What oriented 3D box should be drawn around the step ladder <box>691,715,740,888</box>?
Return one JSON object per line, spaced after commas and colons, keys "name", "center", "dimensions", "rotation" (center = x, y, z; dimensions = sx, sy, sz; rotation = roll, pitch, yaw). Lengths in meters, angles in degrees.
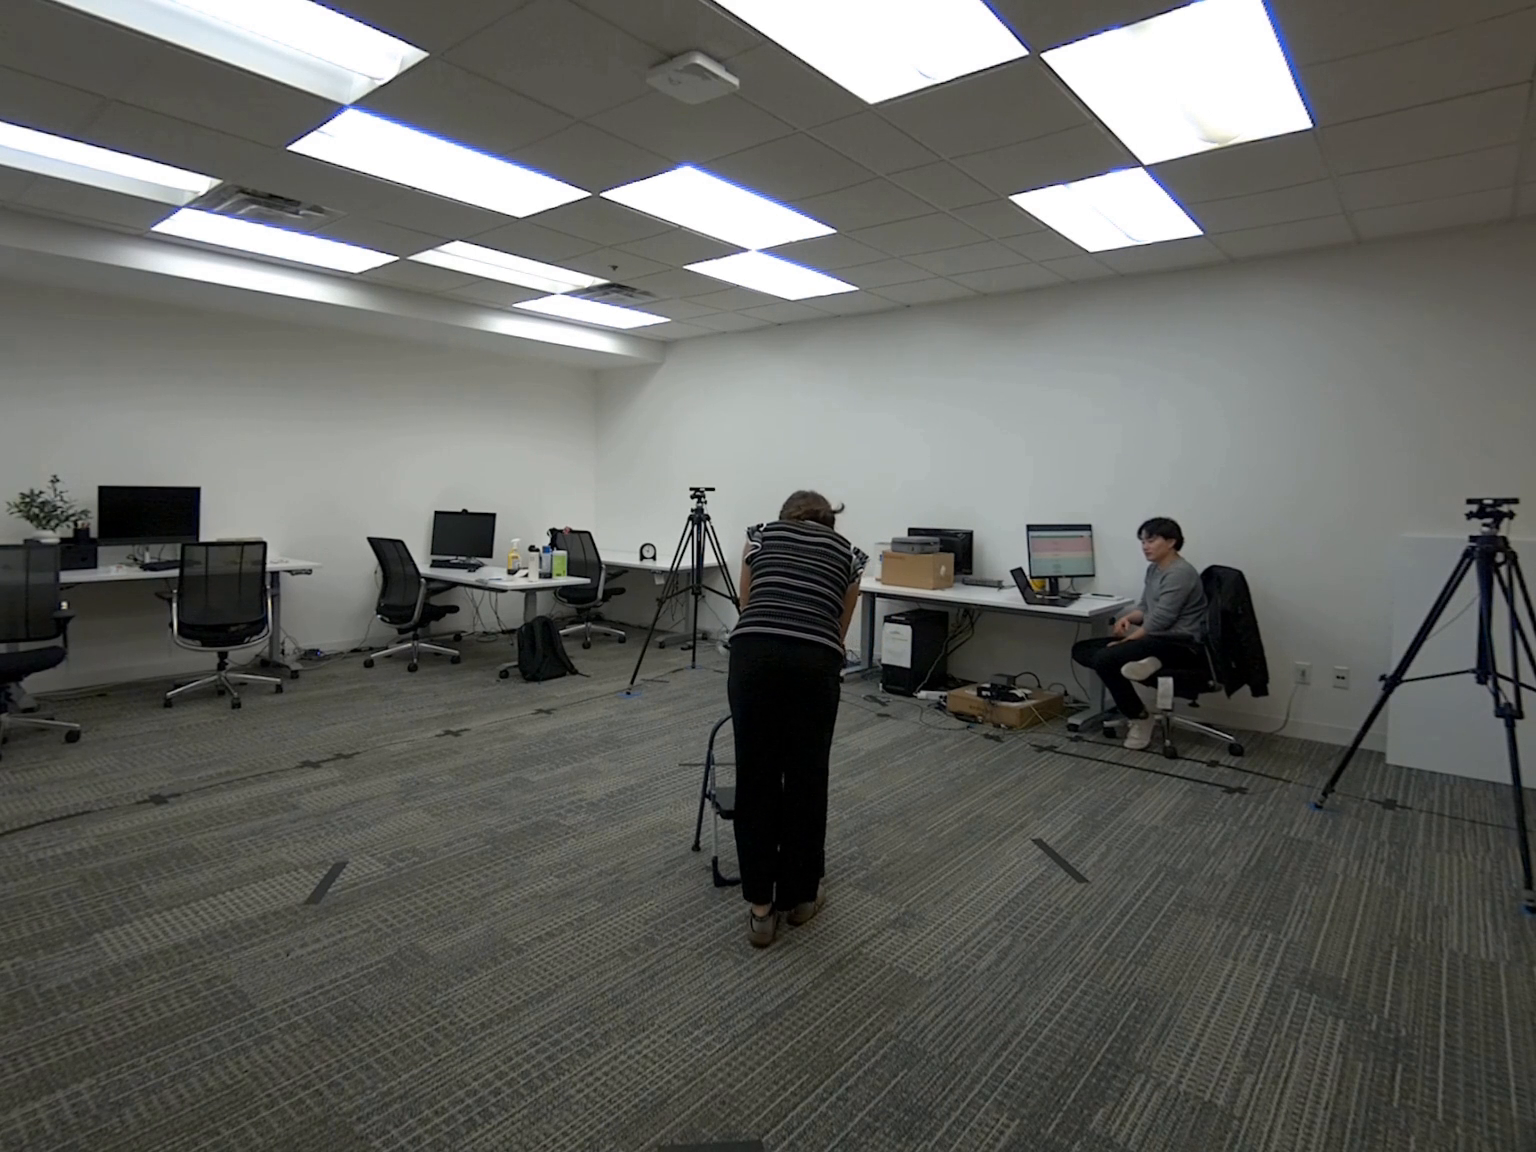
{"name": "step ladder", "center": [-0.043, 0.762, 3.157], "dimensions": [0.423, 0.604, 0.356], "rotation": [0, 4, -17]}
